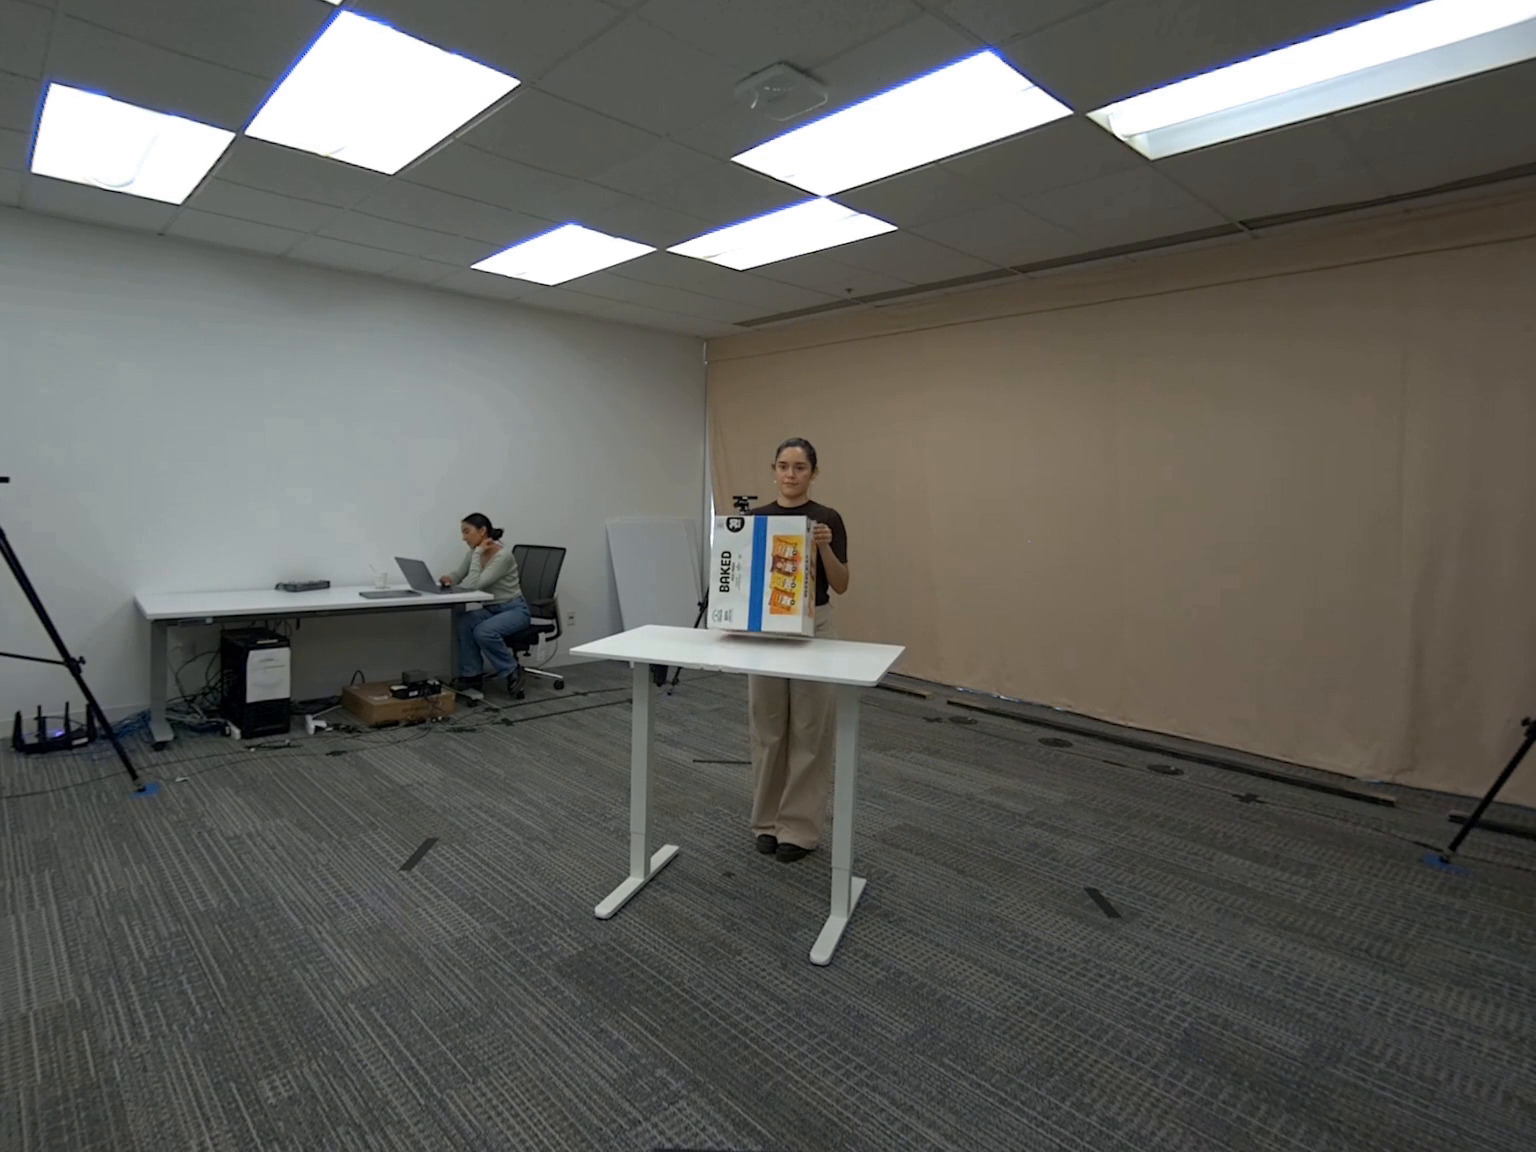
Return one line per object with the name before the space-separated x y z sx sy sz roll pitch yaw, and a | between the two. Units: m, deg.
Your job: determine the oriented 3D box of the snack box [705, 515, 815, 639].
snack box | -0.020 0.003 3.012 0.345 0.407 0.202 1 -8 18
